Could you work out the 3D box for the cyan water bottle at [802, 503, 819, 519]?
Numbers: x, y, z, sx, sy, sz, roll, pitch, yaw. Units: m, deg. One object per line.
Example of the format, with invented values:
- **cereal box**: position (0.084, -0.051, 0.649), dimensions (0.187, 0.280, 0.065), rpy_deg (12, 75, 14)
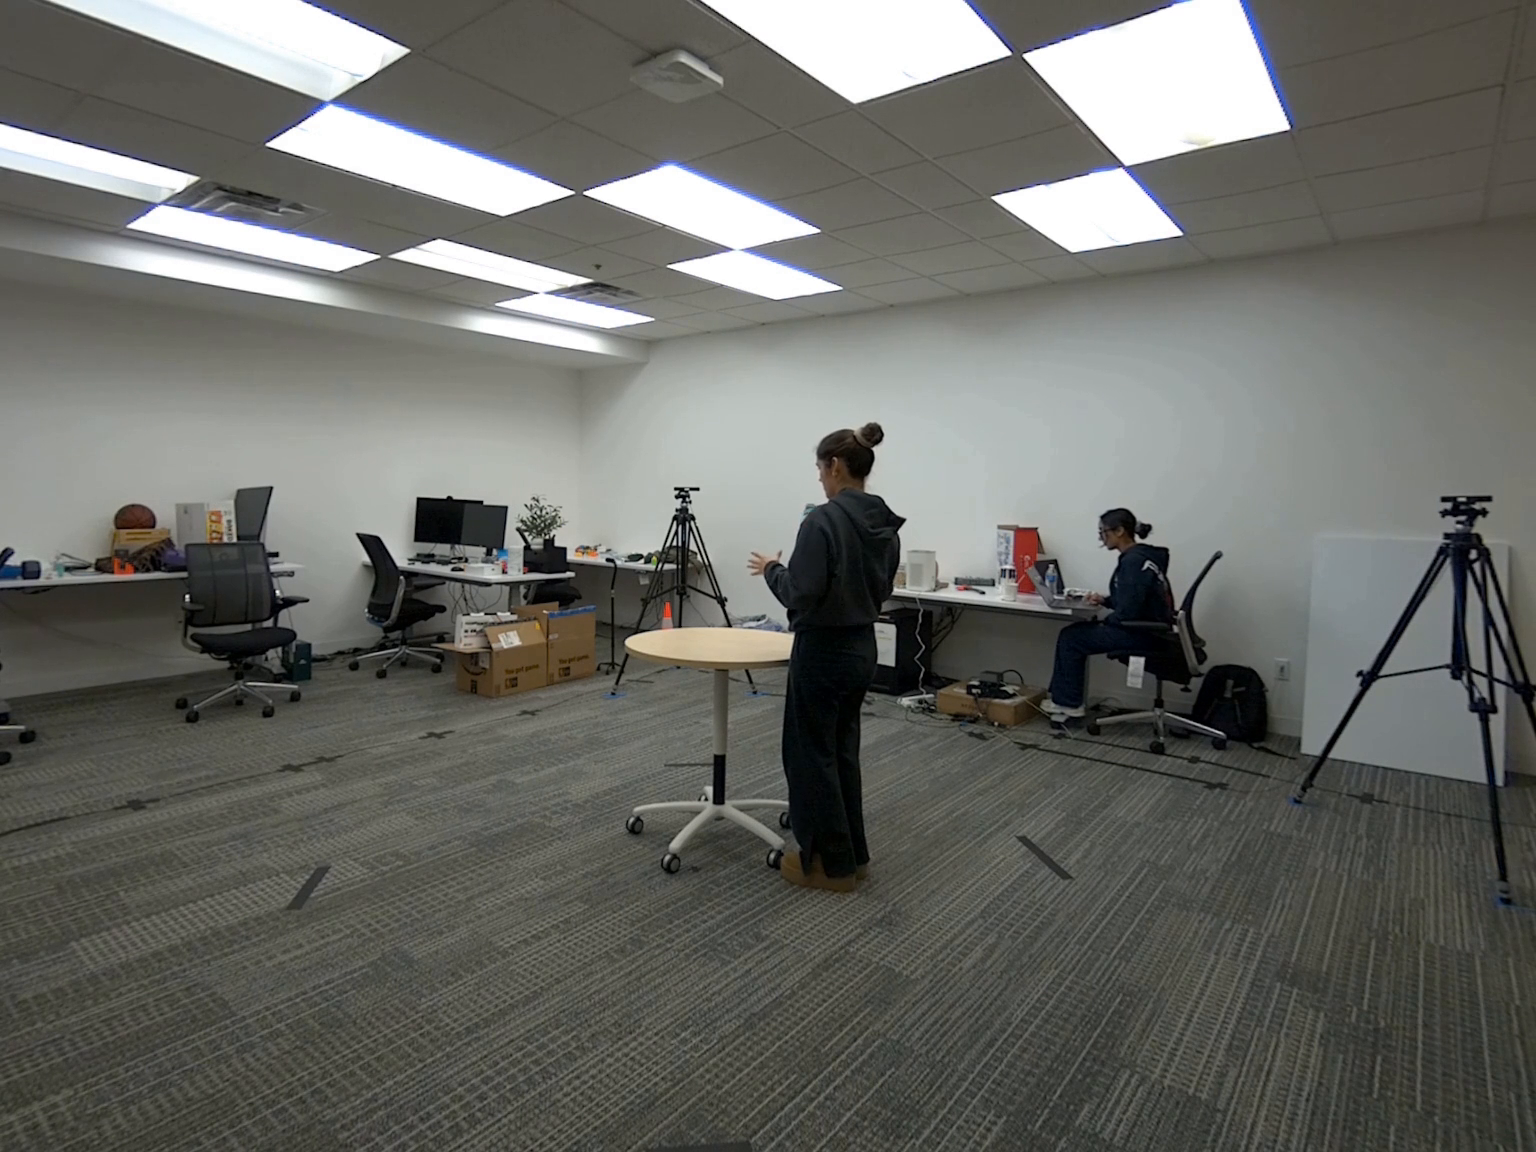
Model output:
- **cyan water bottle**: position (0.164, -0.154, 3.322), dimensions (0.092, 0.288, 0.090), rpy_deg (8, -24, 2)
